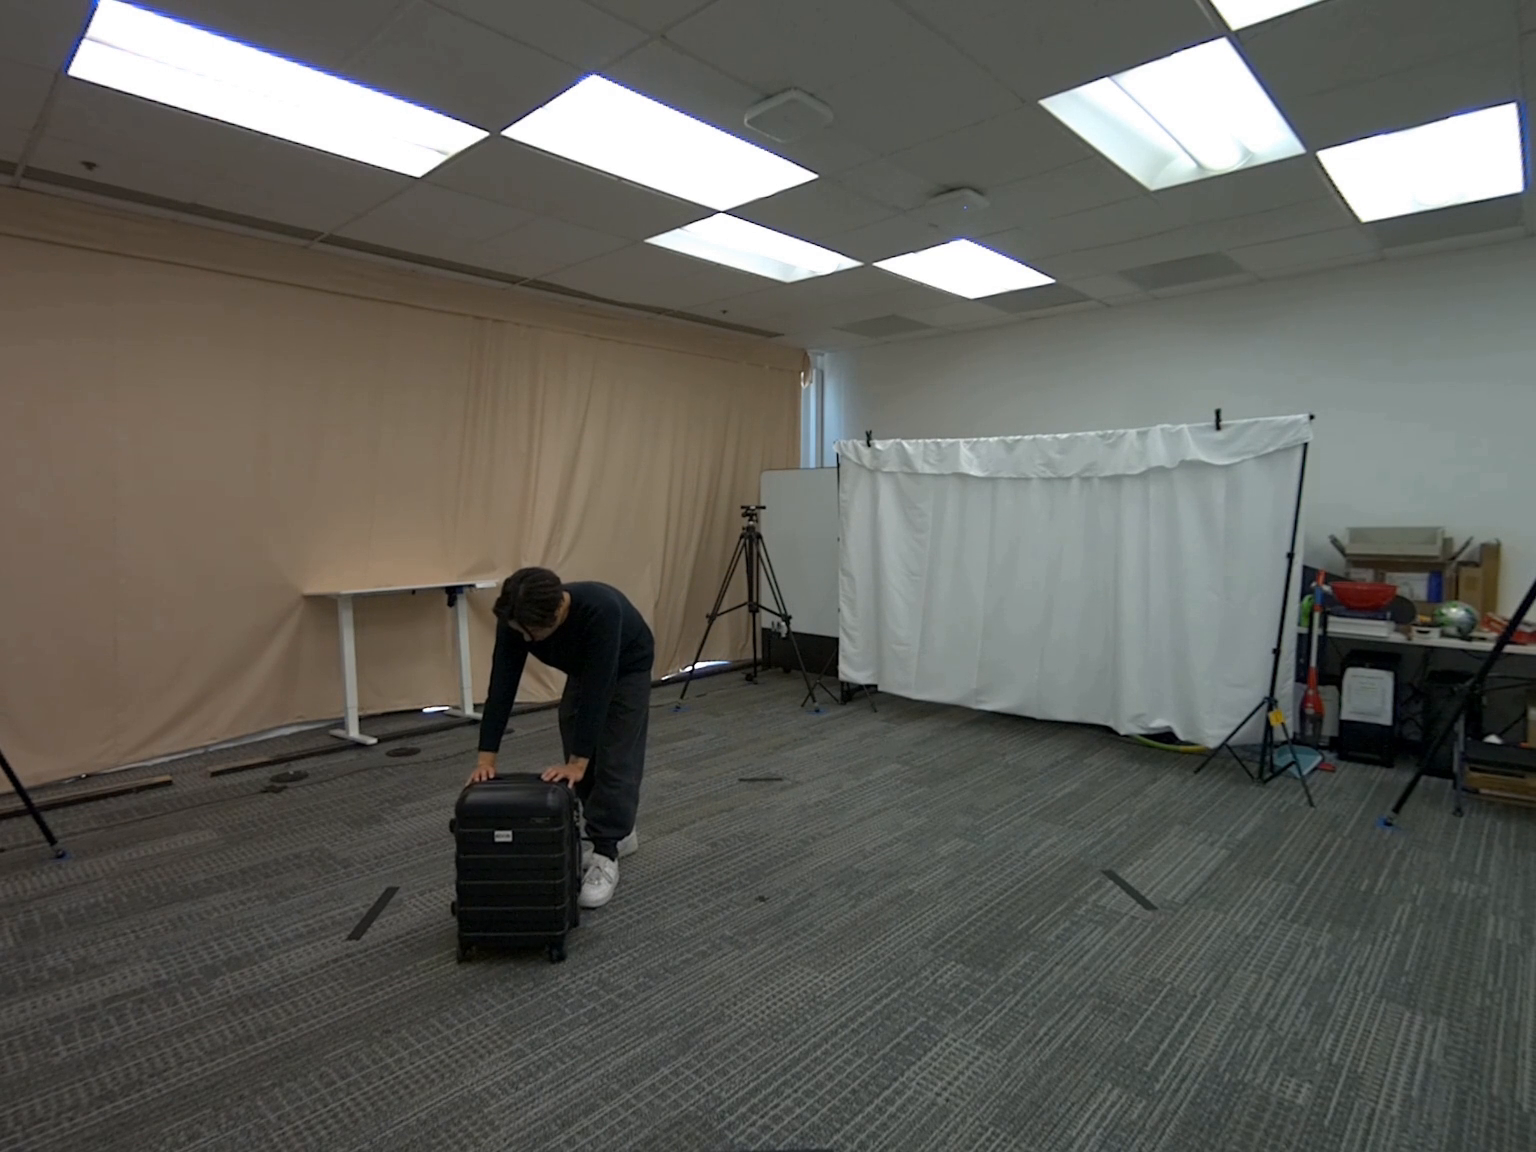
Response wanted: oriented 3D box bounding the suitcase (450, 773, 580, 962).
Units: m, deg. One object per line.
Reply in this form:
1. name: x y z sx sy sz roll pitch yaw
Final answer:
1. suitcase: -0.787 0.898 2.658 0.376 0.548 0.249 0 4 0
